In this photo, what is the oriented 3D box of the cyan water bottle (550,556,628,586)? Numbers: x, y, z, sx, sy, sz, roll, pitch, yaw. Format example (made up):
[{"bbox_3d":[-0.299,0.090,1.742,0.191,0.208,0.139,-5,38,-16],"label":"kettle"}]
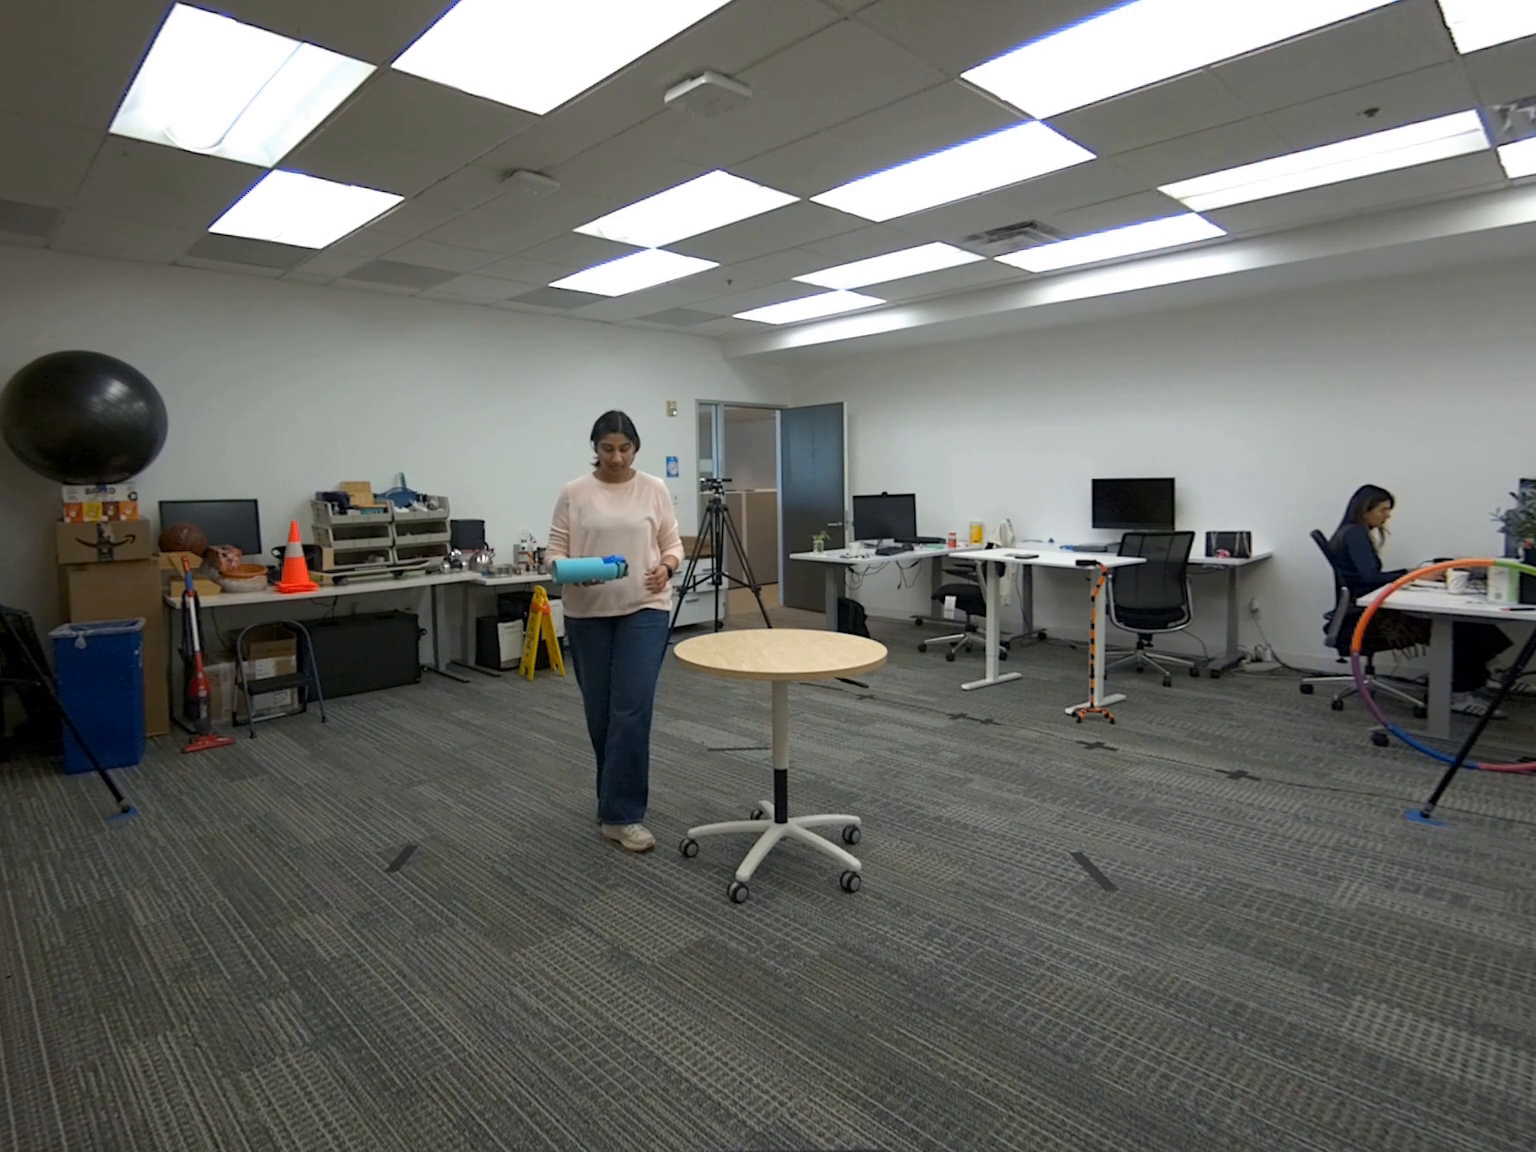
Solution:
[{"bbox_3d":[-0.641,-0.023,3.106,0.277,0.092,0.095,-4,6,-29],"label":"cyan water bottle"}]
